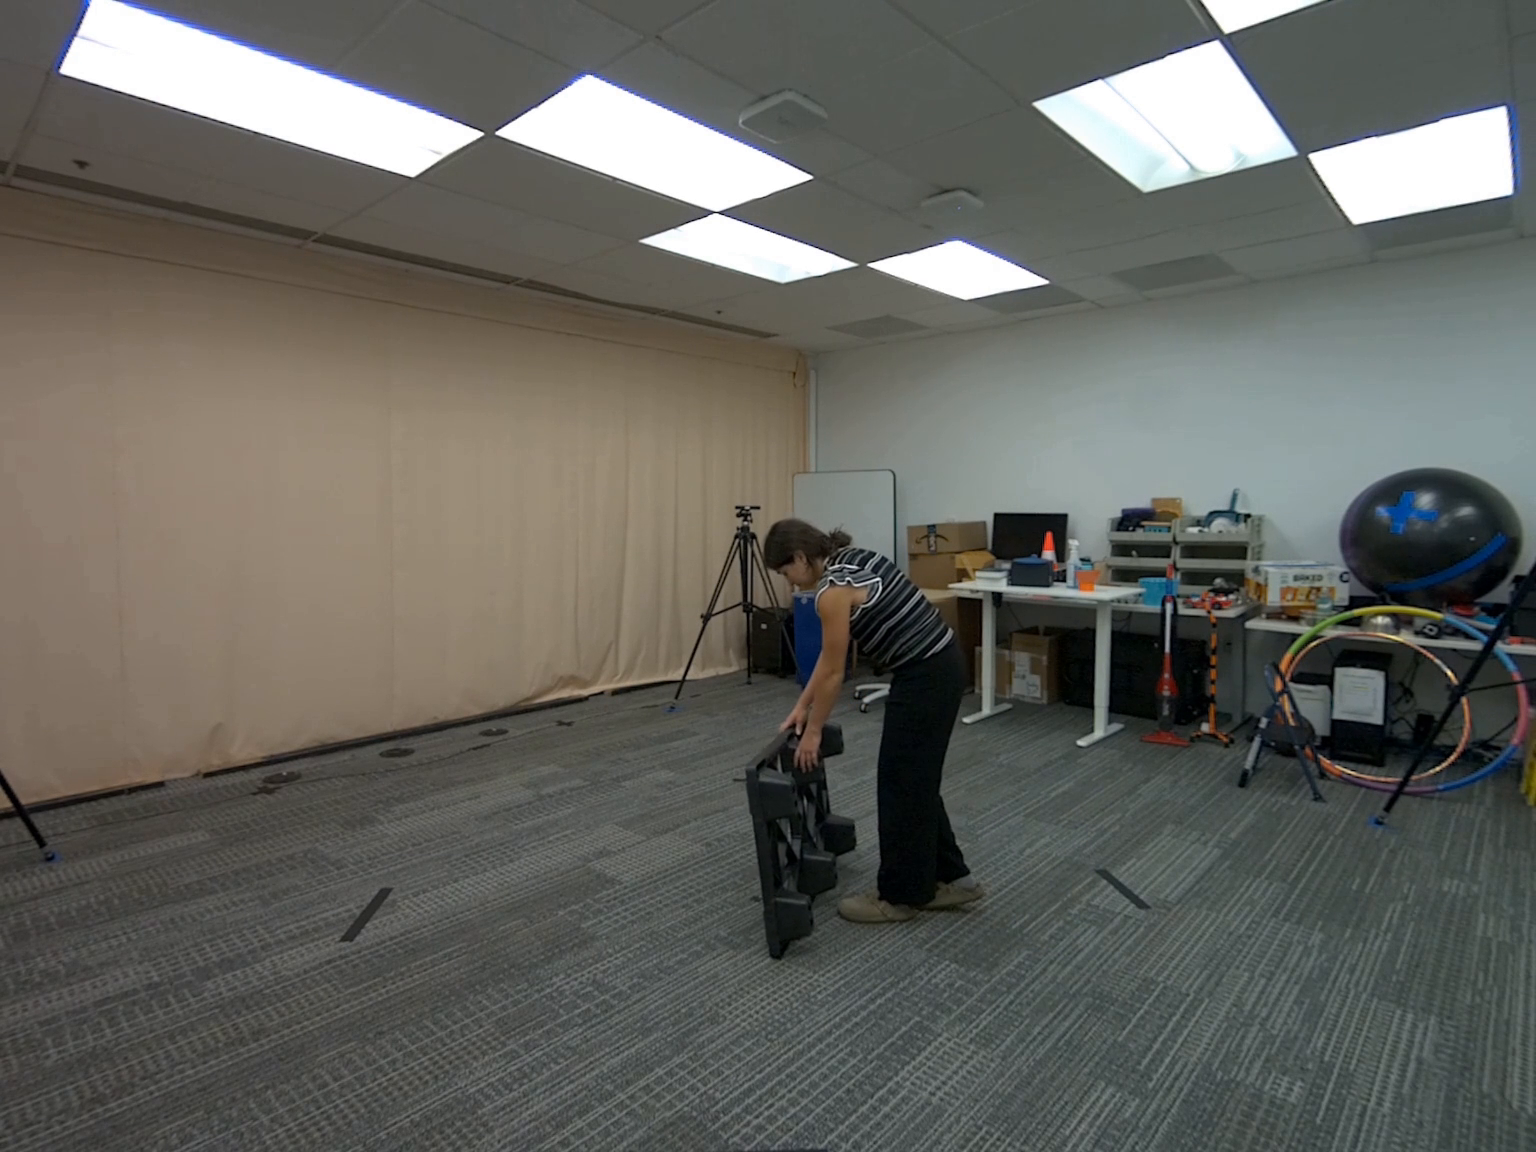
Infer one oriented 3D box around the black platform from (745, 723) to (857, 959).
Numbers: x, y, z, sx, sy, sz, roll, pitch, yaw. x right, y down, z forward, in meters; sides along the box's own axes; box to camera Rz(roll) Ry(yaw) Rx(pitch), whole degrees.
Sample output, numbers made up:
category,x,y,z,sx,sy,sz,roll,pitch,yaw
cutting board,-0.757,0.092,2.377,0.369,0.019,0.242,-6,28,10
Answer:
category,x,y,z,sx,sy,sz,roll,pitch,yaw
black platform,0.142,0.847,2.934,0.146,0.605,0.791,-9,1,18
